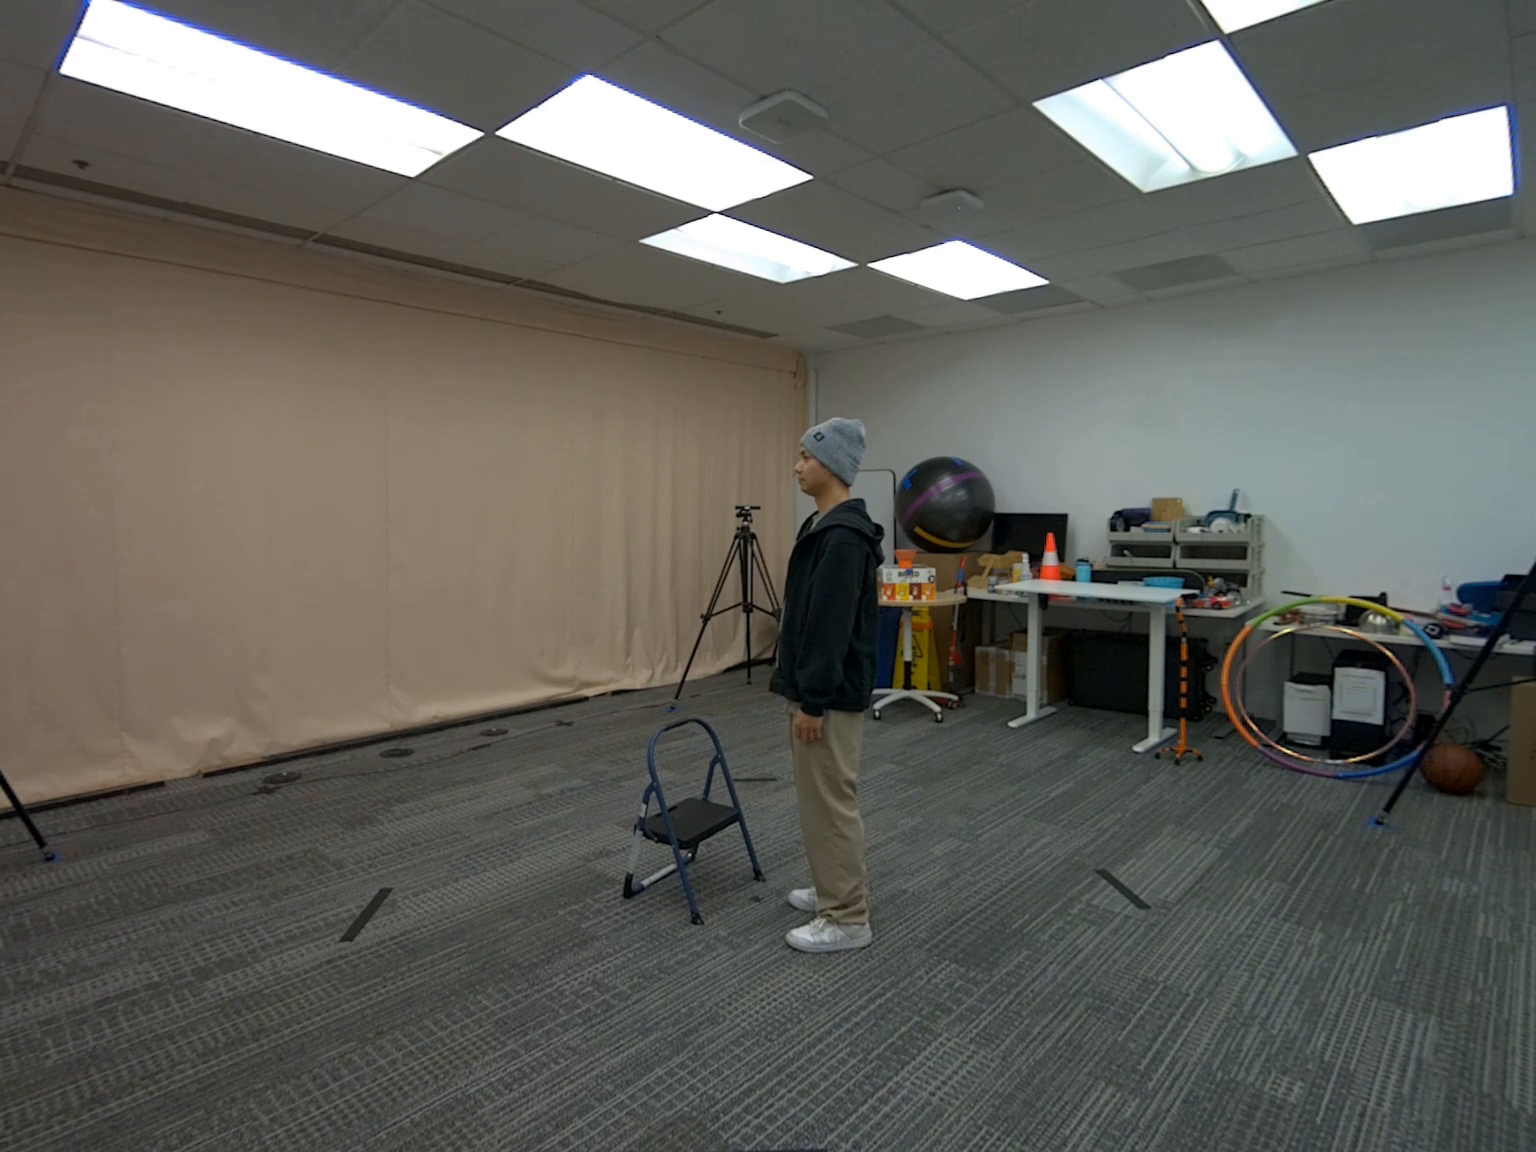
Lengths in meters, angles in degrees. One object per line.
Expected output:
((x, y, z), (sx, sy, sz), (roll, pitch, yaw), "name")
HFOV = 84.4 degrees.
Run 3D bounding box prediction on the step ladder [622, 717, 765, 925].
((-0.268, 0.837, 3.054), (0.360, 0.605, 0.418), (2, 4, 33), "step ladder")
